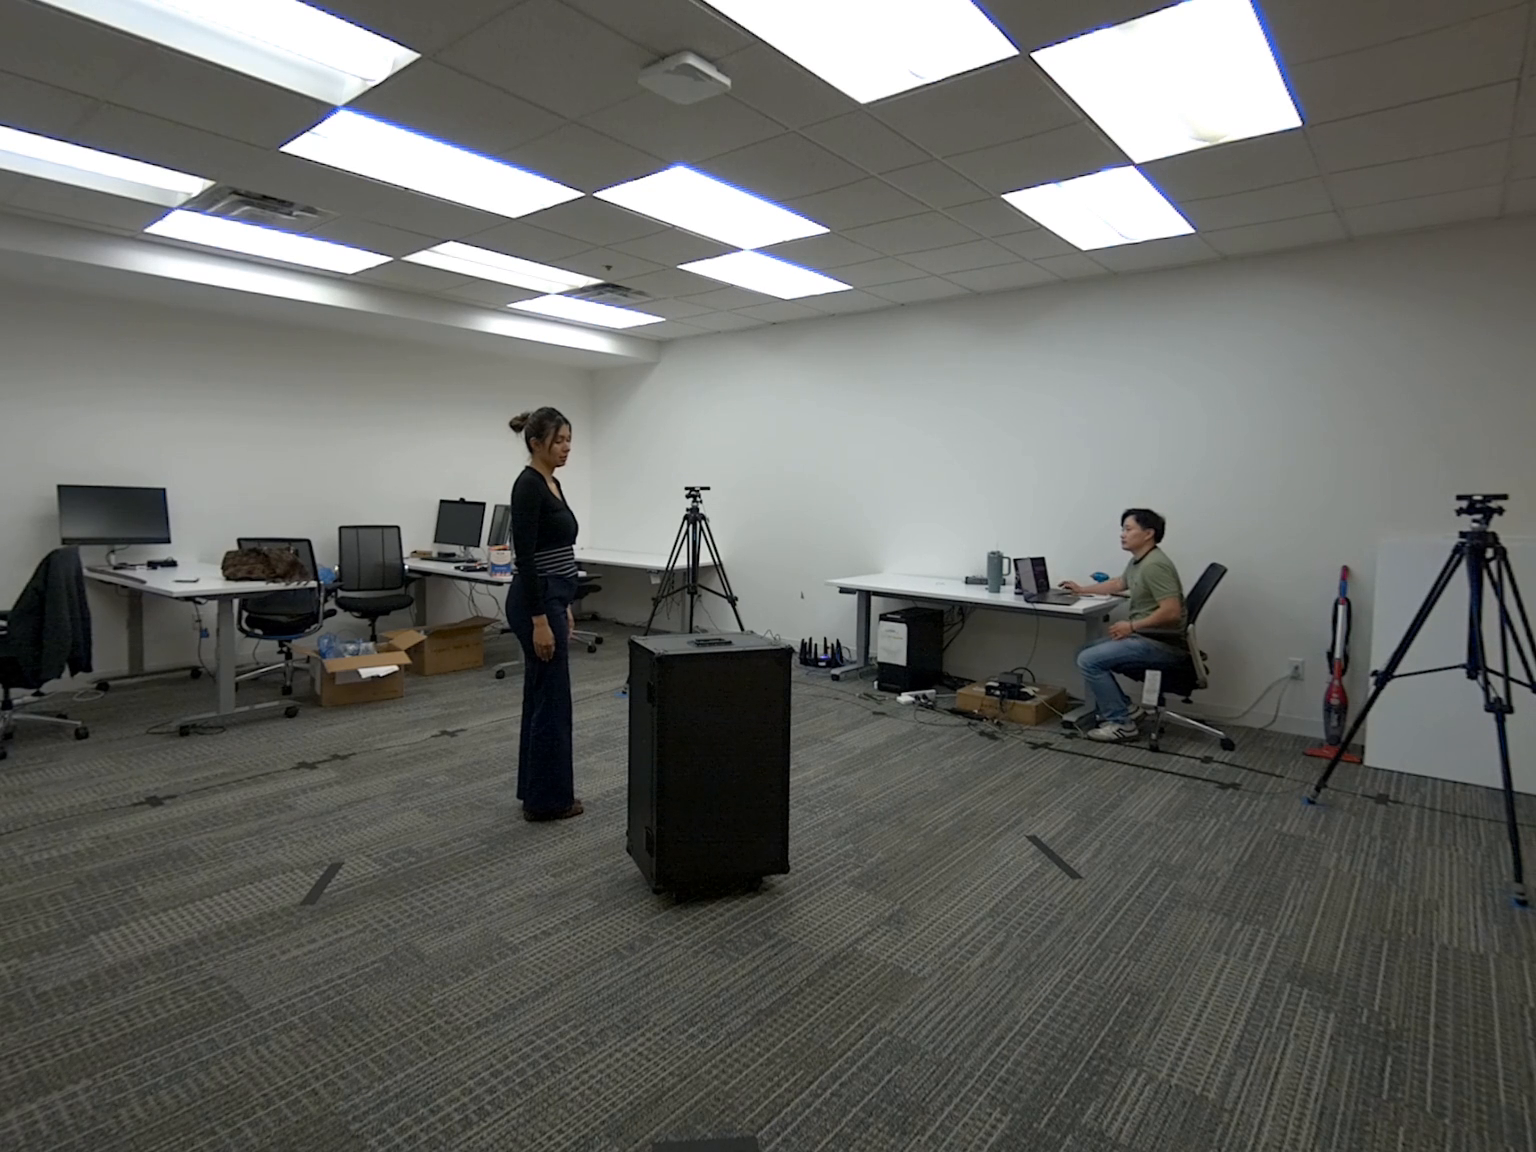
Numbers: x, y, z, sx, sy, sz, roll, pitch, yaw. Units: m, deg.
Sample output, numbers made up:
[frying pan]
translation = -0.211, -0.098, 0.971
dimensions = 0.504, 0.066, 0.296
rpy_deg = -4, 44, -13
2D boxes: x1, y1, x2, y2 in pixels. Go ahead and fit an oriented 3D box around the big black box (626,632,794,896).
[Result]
[big black box]
translation = -0.225, 0.589, 2.988
dimensions = 0.510, 0.859, 0.406
rpy_deg = -1, 4, -24
